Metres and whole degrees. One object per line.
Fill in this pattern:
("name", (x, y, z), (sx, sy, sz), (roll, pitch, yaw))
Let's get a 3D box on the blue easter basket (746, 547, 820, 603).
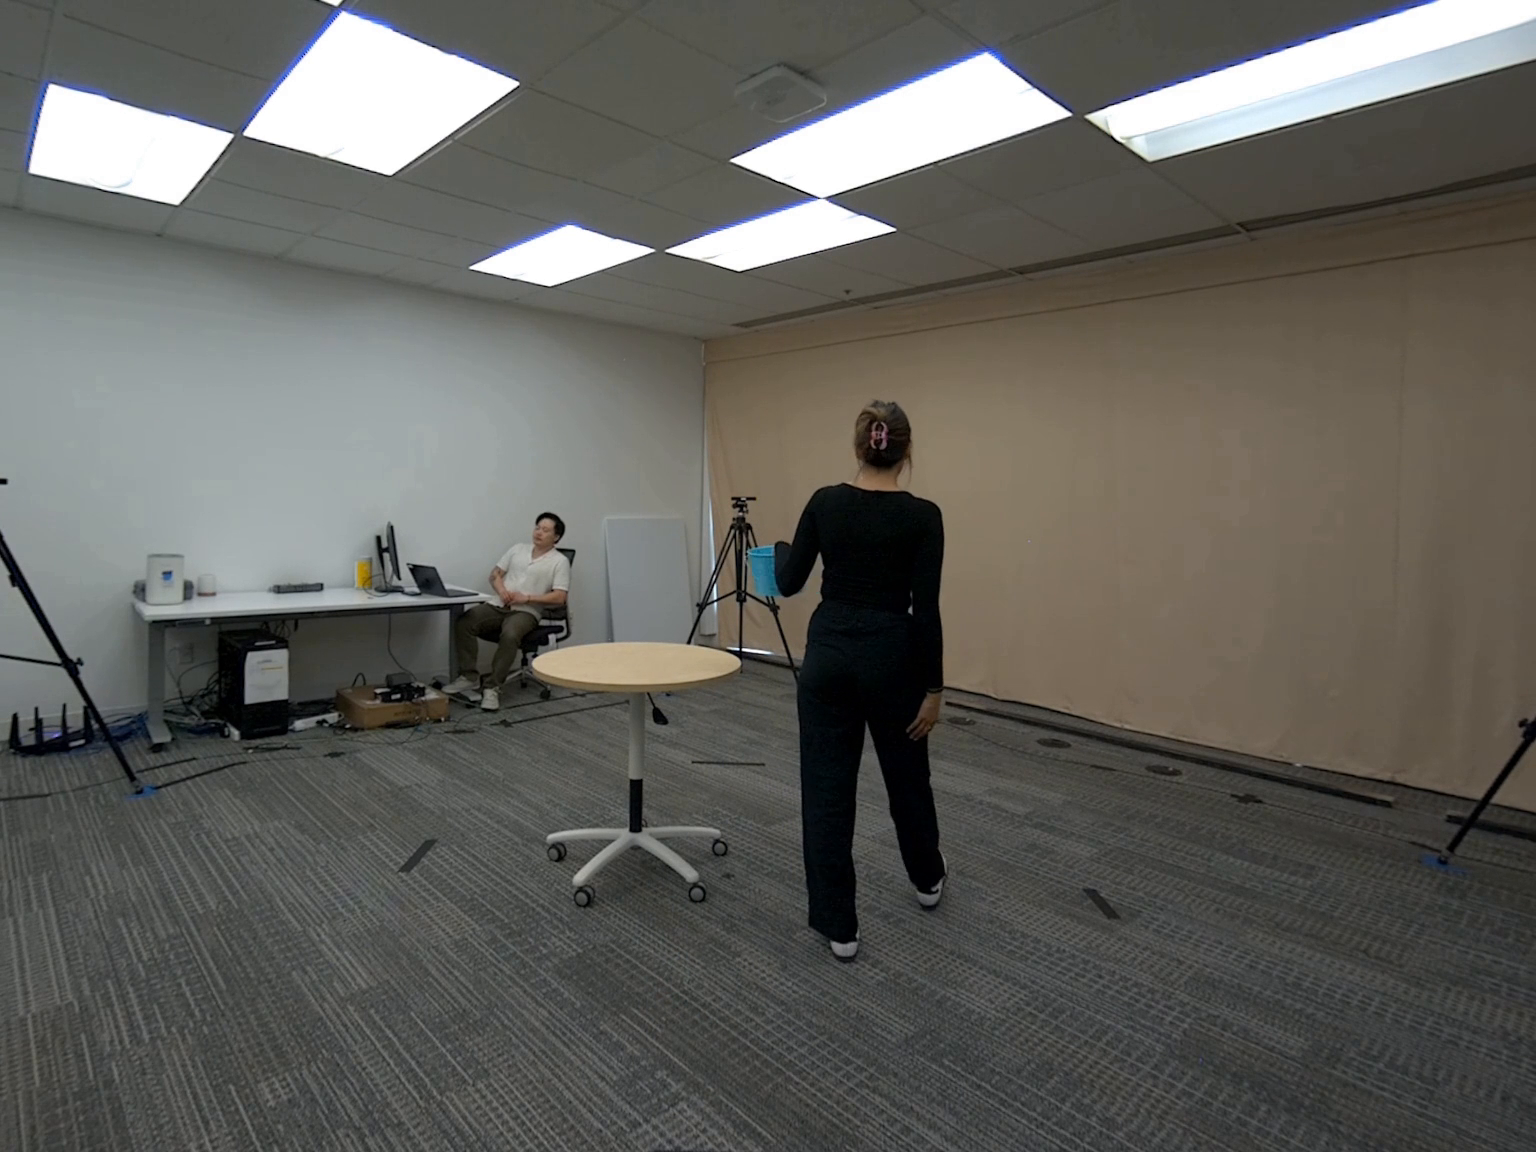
("blue easter basket", (0.047, -0.012, 3.035), (0.243, 0.155, 0.245), (-2, 9, -1))
